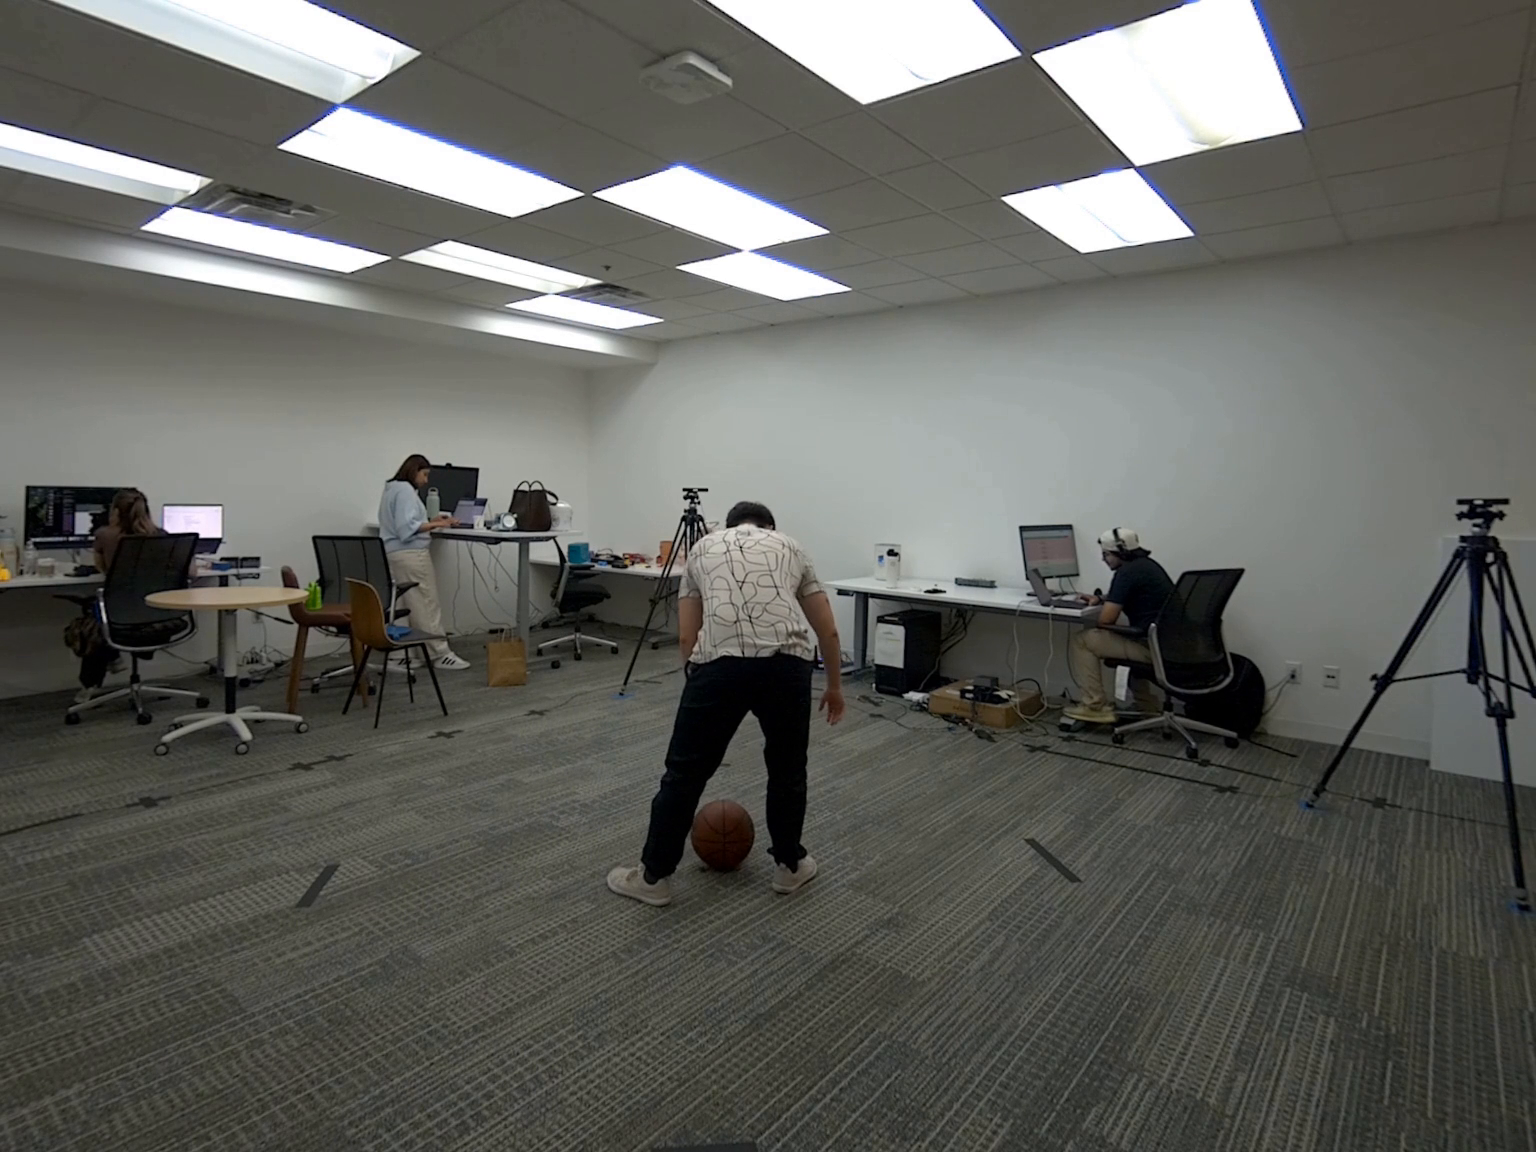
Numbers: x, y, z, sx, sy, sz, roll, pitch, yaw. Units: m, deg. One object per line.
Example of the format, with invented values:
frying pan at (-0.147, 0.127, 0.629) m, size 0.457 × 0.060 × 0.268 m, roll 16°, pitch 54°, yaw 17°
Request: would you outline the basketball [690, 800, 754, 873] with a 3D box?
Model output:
basketball at (-0.178, 0.942, 3.140) m, size 0.235 × 0.235 × 0.237 m, roll 1°, pitch 4°, yaw -2°
